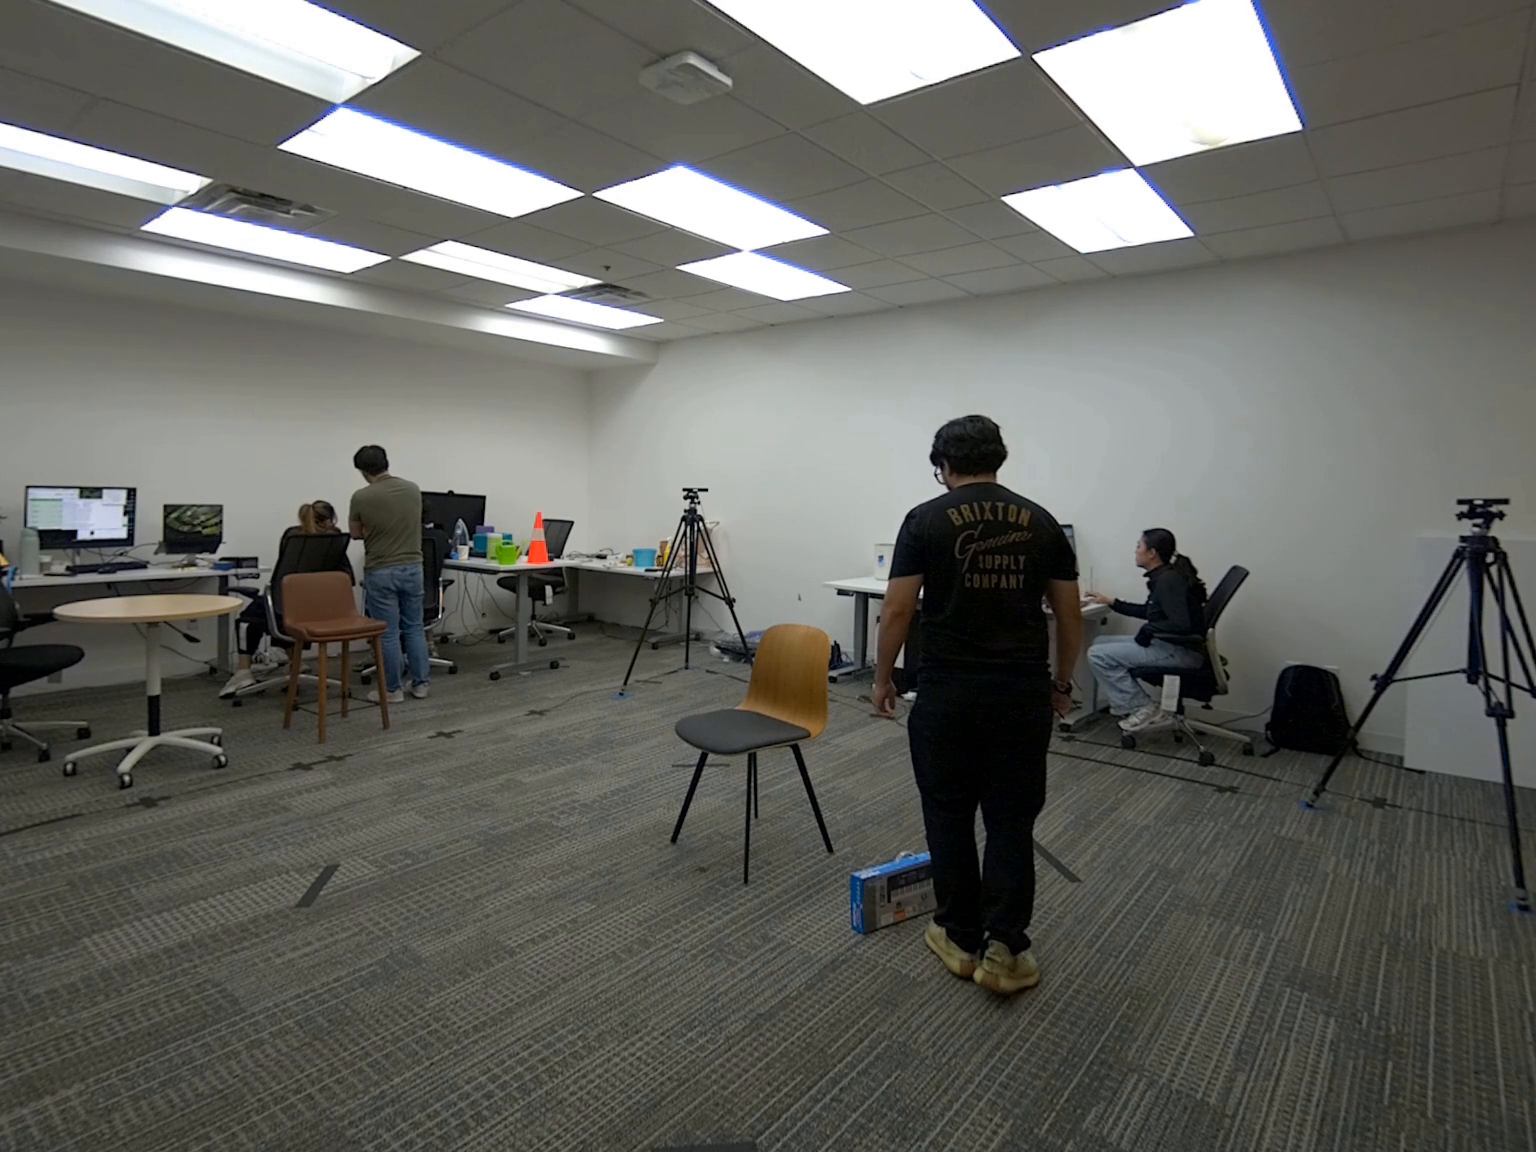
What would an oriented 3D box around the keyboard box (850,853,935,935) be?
[{"bbox_3d":[0.453,1.032,2.808,0.424,0.176,0.061,-2,0,-34],"label":"keyboard box"}]
